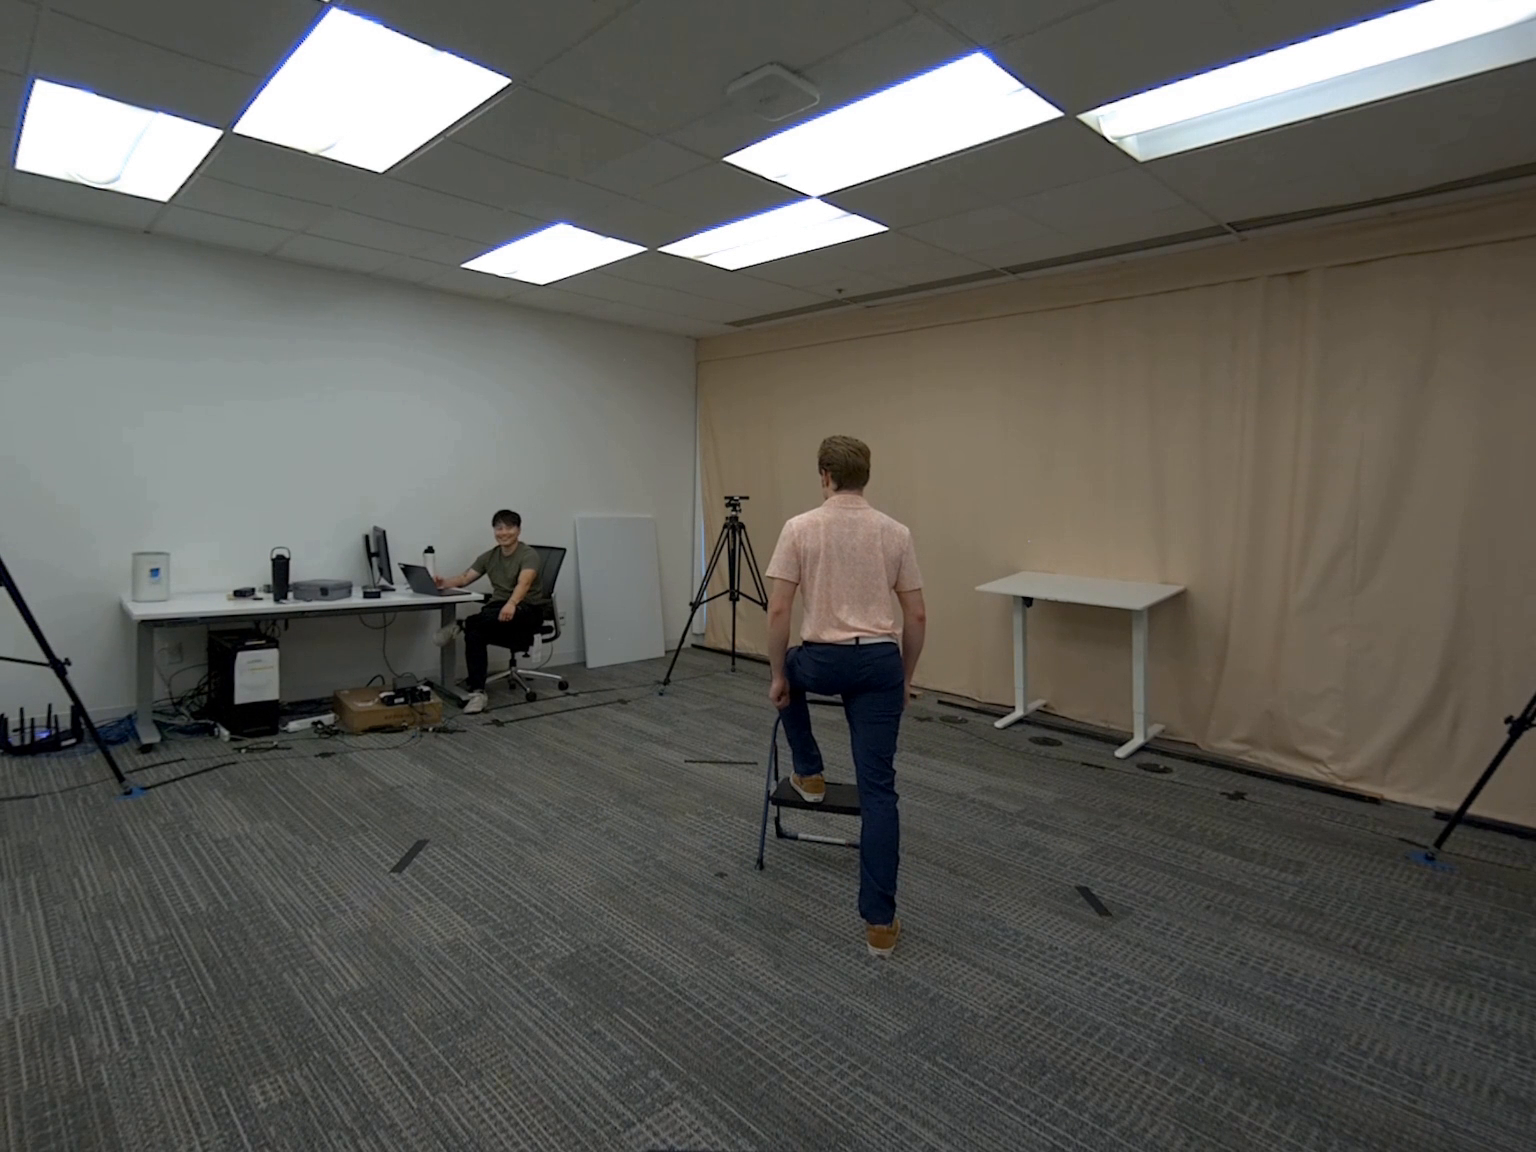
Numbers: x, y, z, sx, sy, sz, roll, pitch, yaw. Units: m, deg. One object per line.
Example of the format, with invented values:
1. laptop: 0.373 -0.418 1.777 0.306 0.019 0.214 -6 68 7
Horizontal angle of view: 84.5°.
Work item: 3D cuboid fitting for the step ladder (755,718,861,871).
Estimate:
1. step ladder: 0.199 0.796 3.253 0.436 0.605 0.346 3 3 15
